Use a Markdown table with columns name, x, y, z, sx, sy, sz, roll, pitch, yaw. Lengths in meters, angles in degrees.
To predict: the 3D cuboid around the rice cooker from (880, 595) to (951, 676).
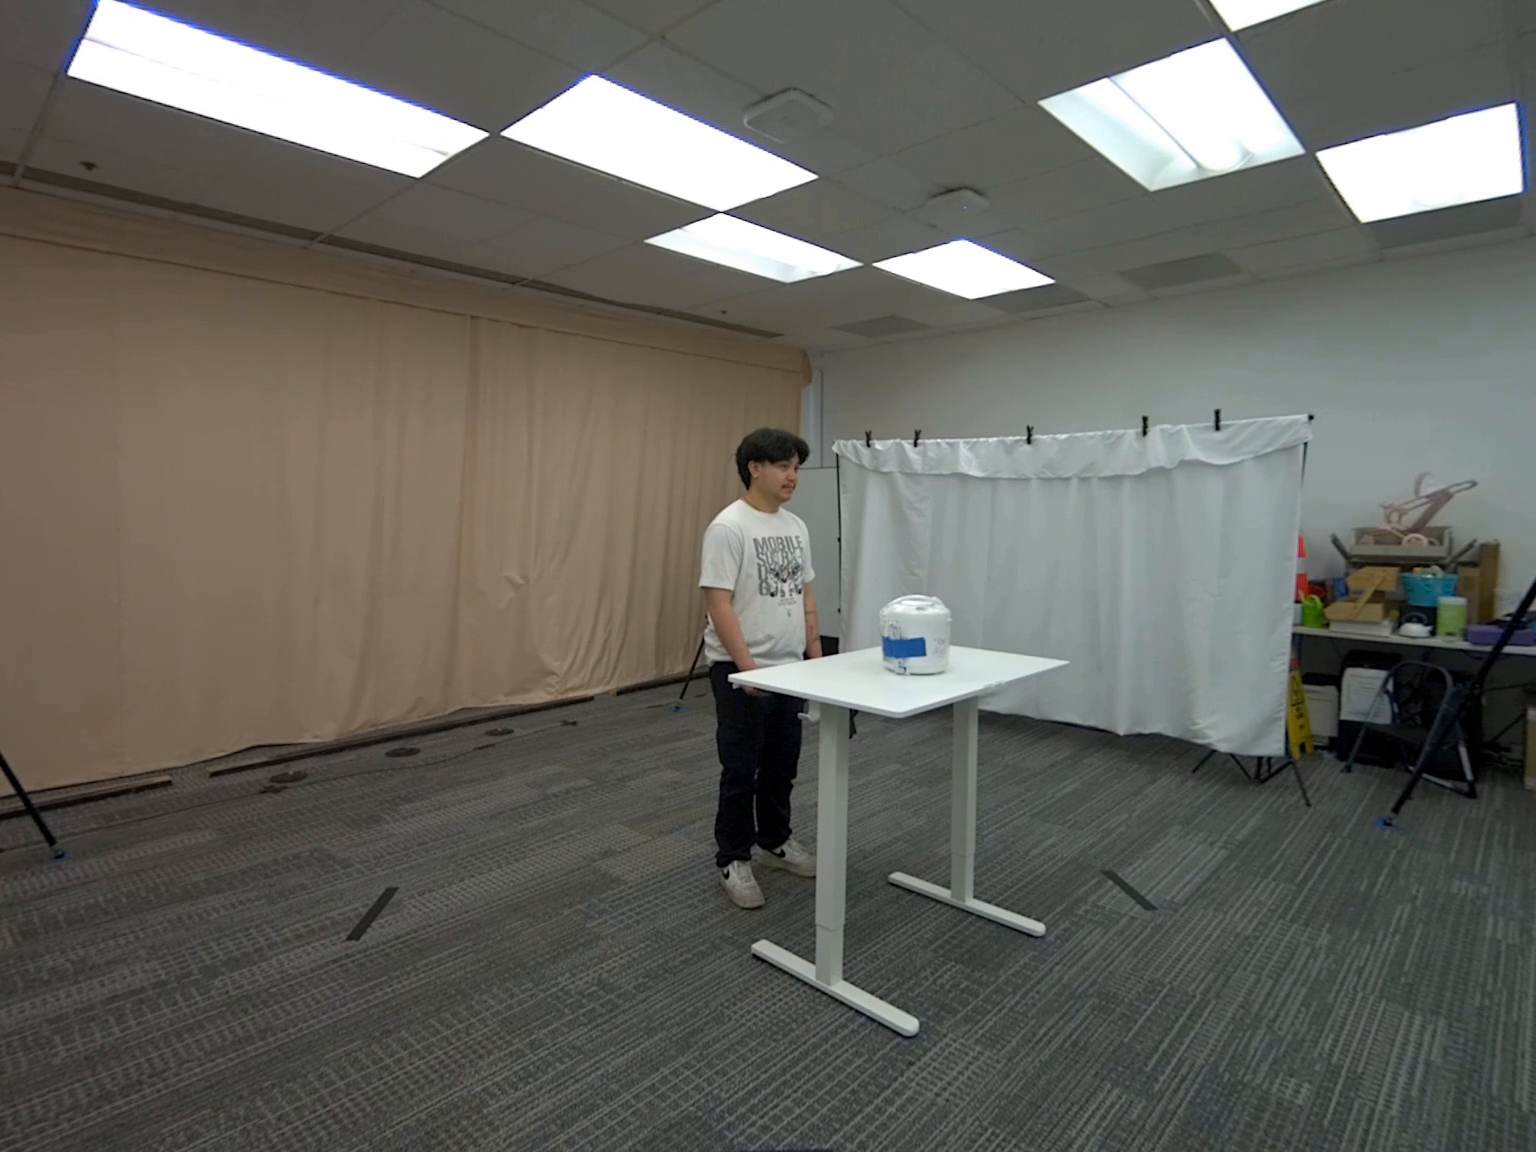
| name | x | y | z | sx | sy | sz | roll | pitch | yaw |
| --- | --- | --- | --- | --- | --- | --- | --- | --- | --- |
| rice cooker | 0.461 | 0.177 | 2.596 | 0.219 | 0.232 | 0.219 | 1 | 4 | -7 |
